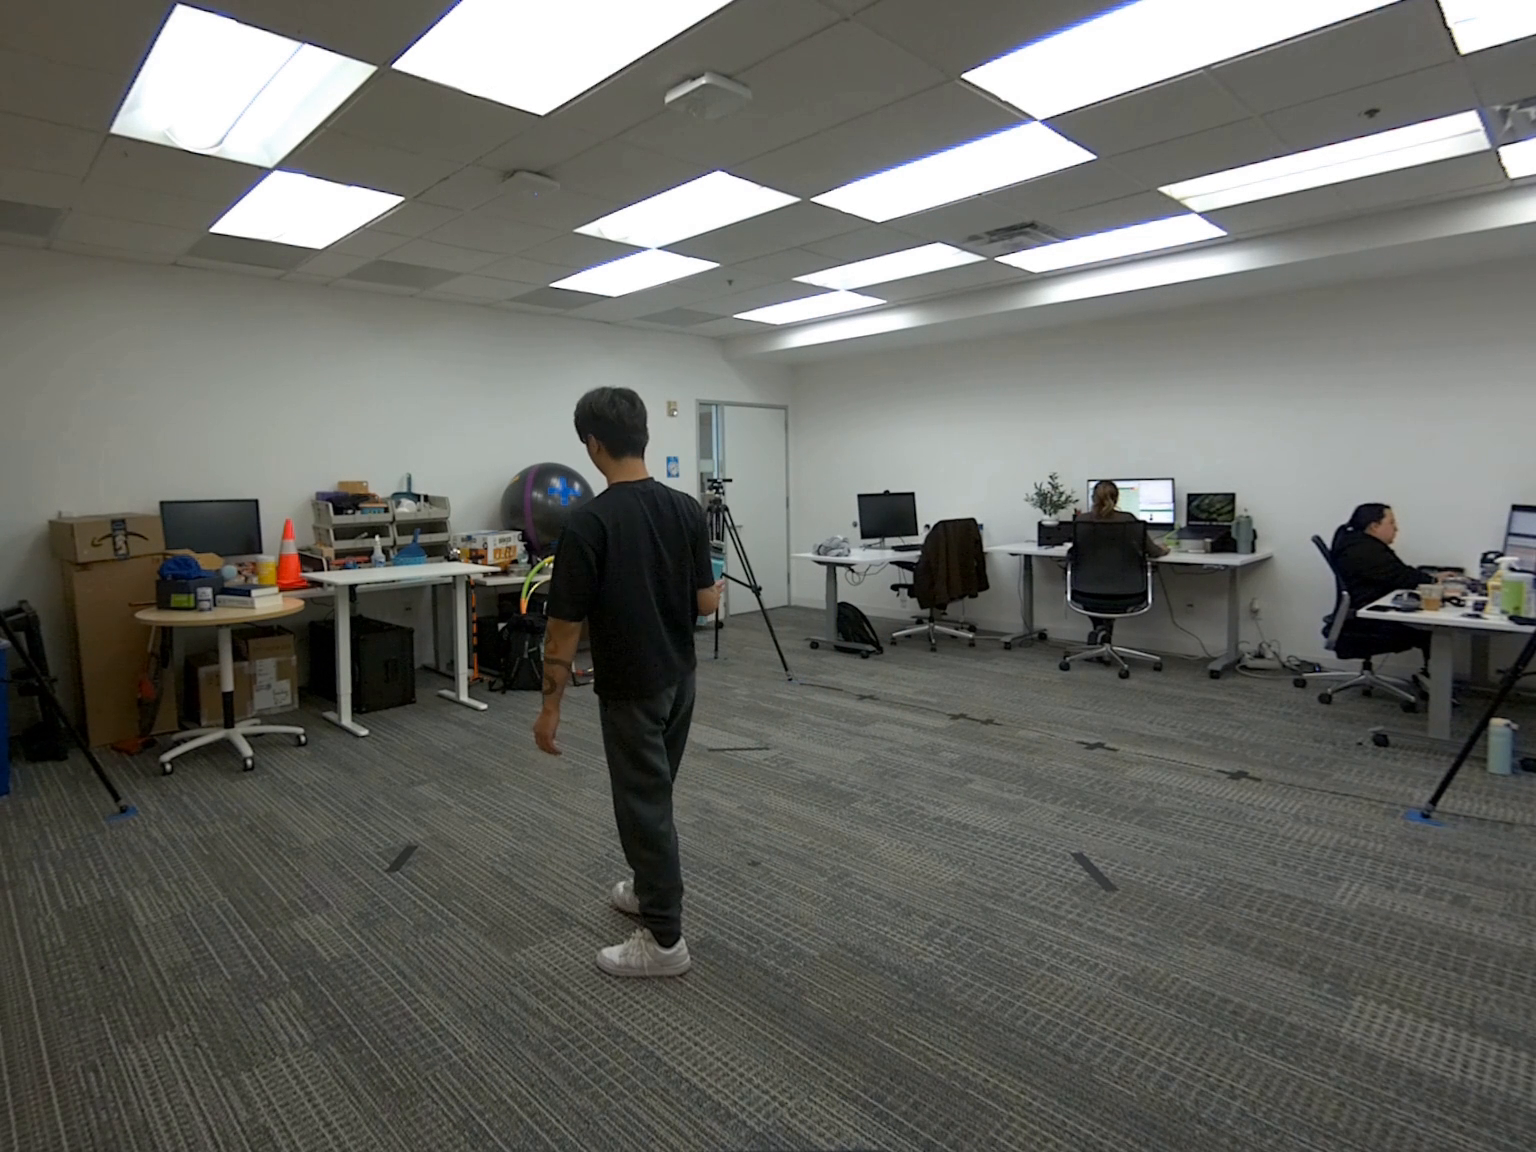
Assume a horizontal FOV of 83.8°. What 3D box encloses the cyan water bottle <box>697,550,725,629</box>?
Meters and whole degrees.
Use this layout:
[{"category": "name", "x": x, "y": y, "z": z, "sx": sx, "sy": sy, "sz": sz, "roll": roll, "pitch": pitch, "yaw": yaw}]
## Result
[{"category": "cyan water bottle", "x": -0.214, "y": 0.020, "z": 2.840, "sx": 0.092, "sy": 0.283, "sz": 0.093, "roll": 15, "pitch": 4, "yaw": -3}]
